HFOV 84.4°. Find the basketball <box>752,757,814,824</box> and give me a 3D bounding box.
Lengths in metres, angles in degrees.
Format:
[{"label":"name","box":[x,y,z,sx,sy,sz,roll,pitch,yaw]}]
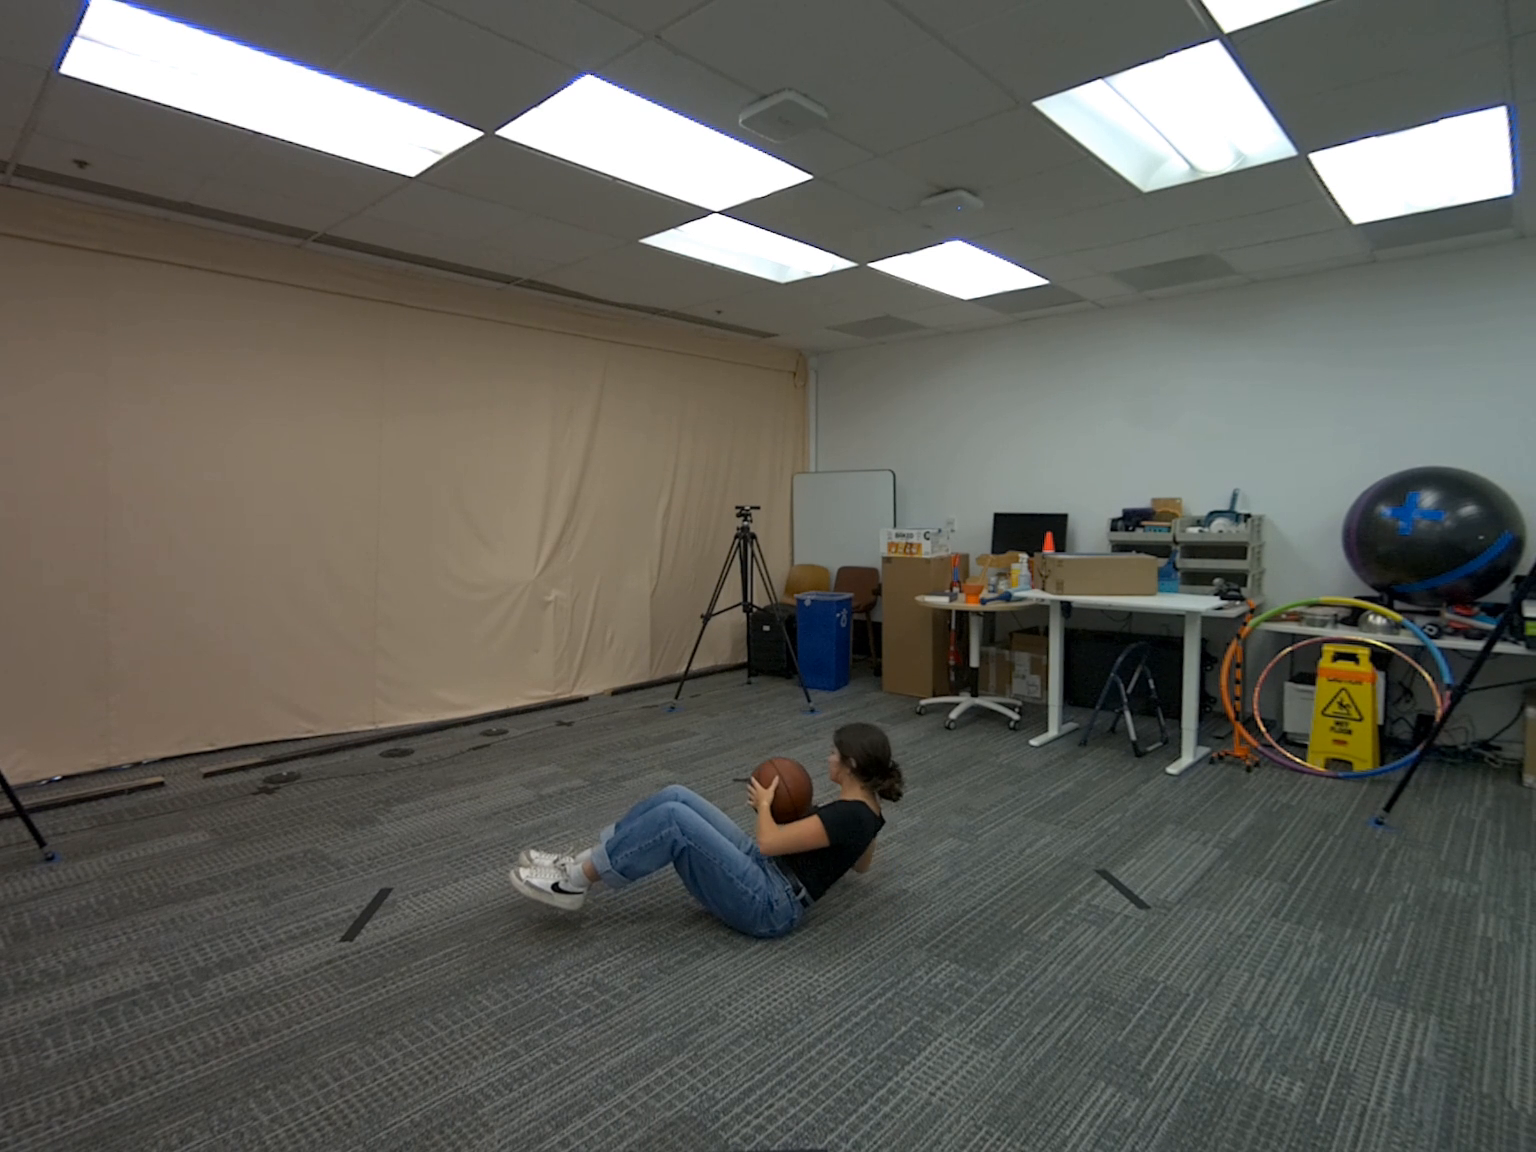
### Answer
[{"label":"basketball","box":[0.055,0.796,3.084,0.236,0.235,0.237,0,4,-2]}]
